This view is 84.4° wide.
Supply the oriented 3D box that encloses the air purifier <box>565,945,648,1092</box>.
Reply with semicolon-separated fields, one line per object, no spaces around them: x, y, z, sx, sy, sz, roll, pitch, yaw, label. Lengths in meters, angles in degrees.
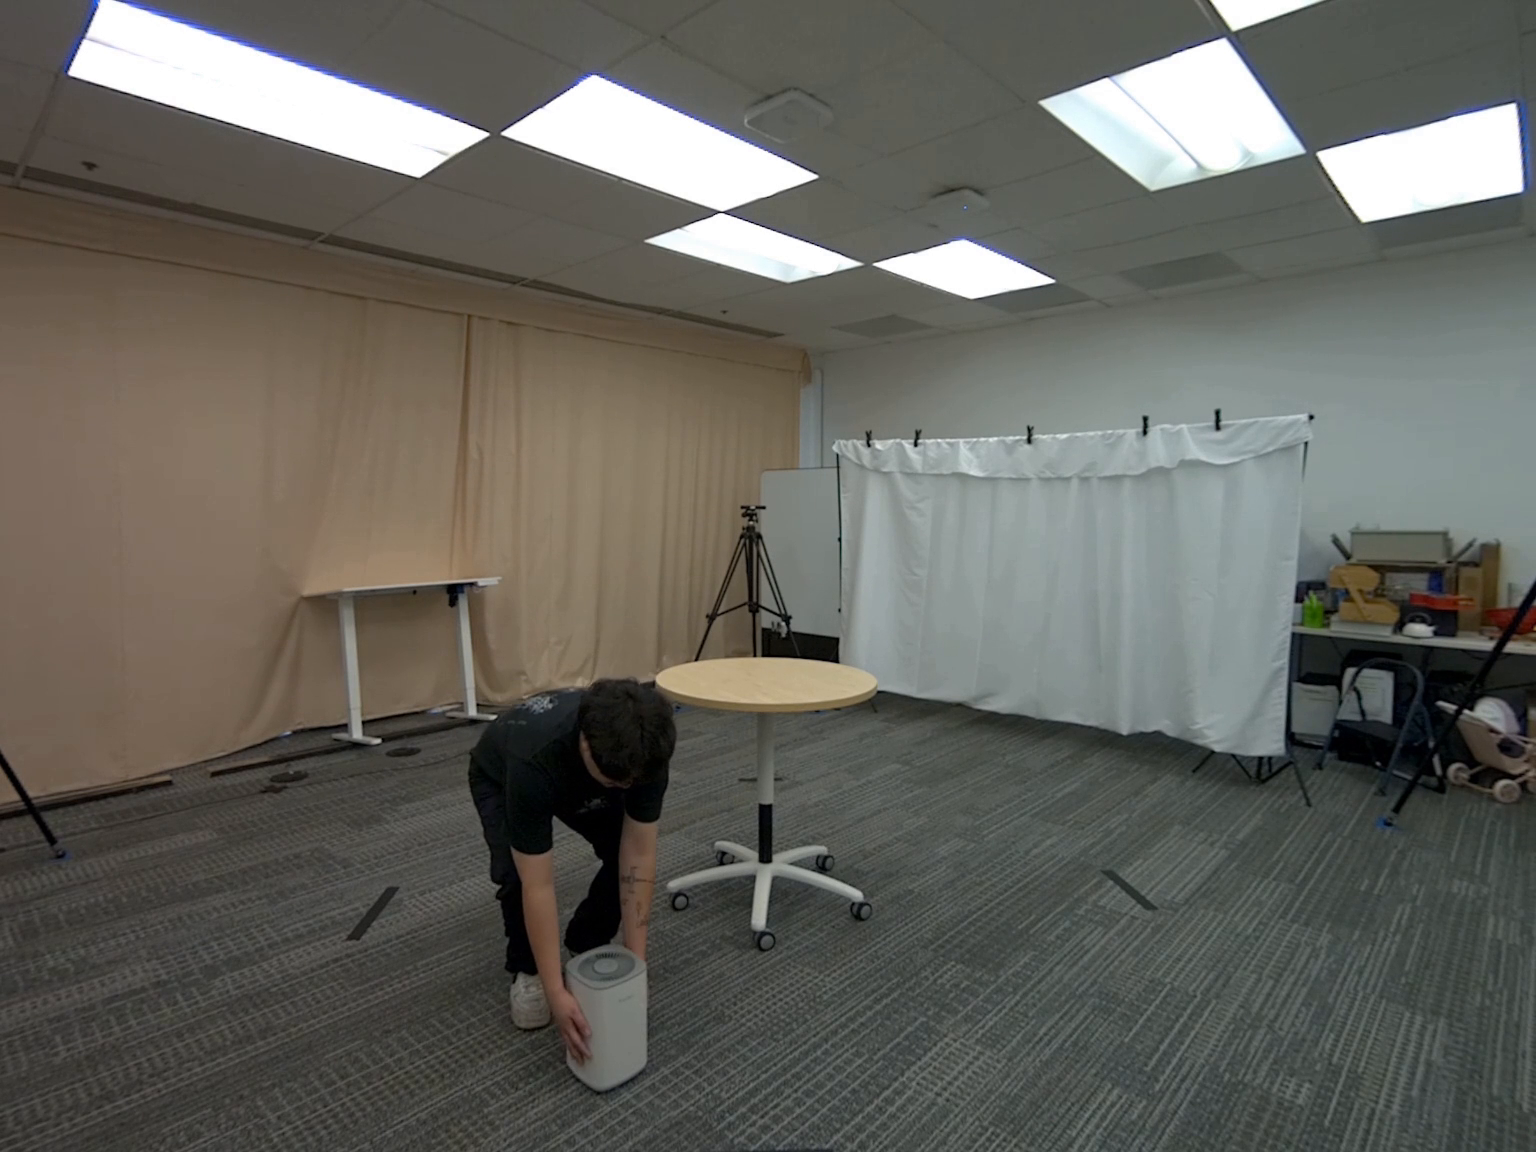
-0.400;1.084;2.075;0.177;0.265;0.166;2;4;43;air purifier
